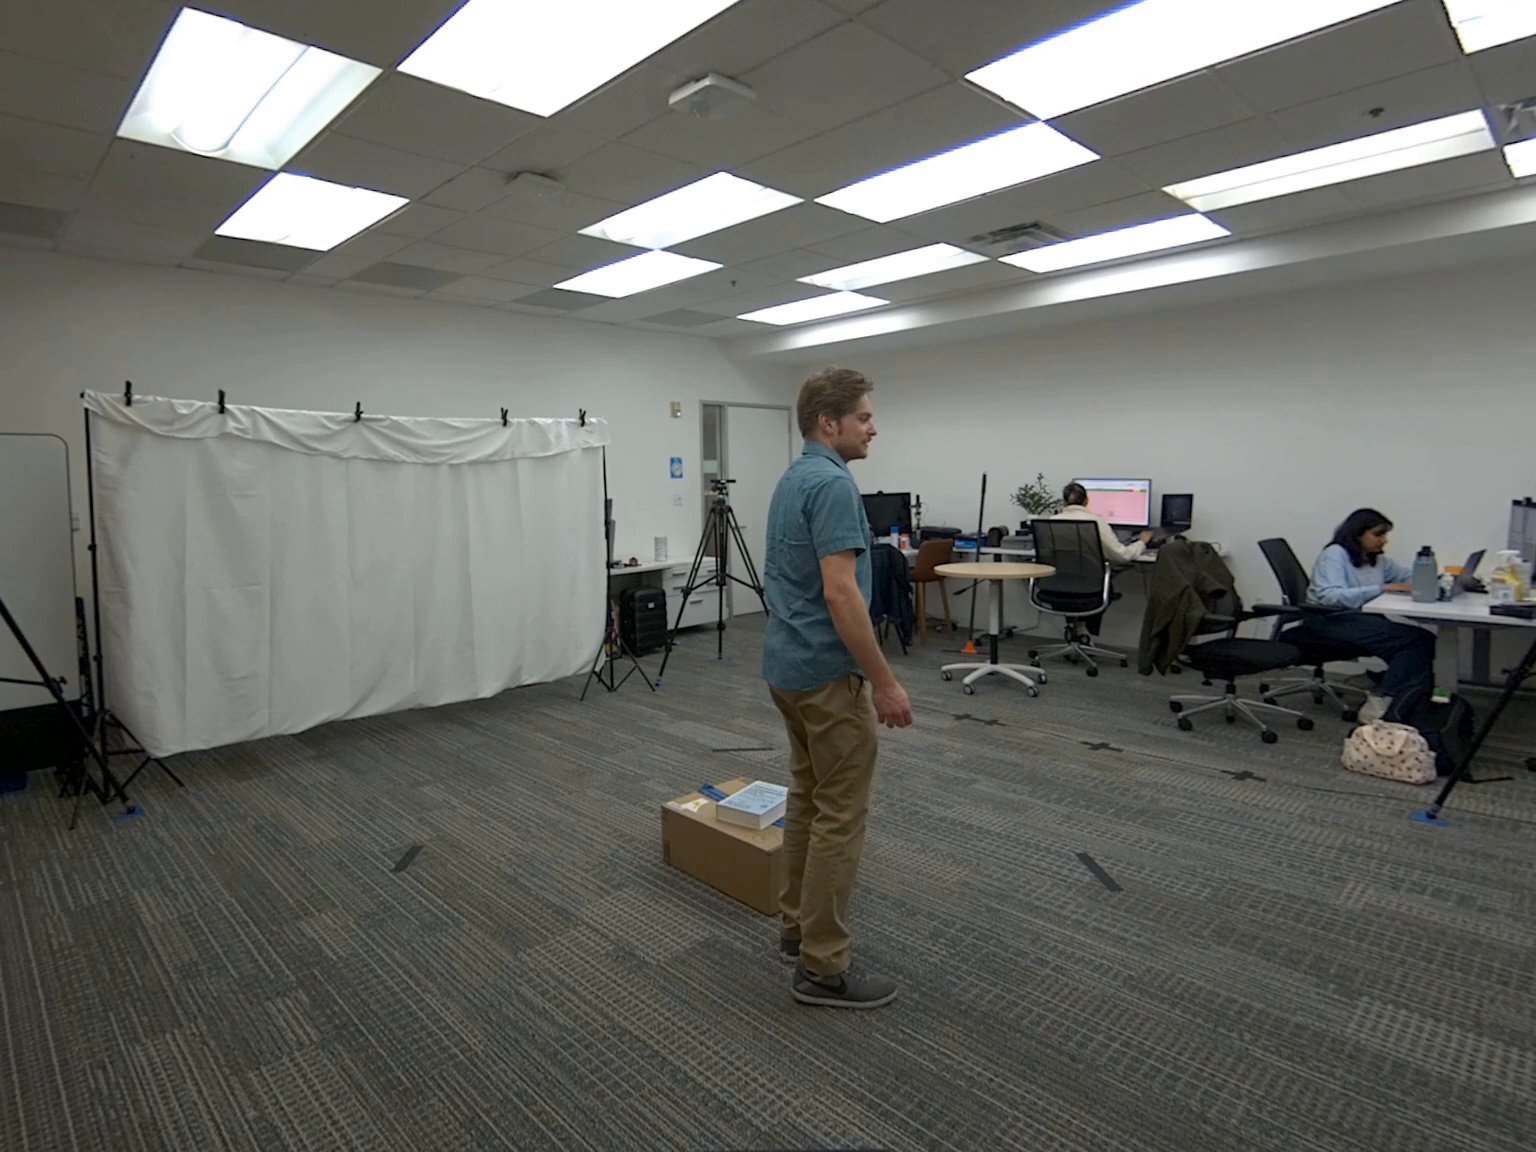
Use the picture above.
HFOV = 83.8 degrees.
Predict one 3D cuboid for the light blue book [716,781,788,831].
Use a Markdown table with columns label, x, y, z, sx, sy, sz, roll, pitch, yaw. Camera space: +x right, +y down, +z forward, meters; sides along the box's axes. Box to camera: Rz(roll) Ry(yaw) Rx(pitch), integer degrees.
| label | x | y | z | sx | sy | sz | roll | pitch | yaw |
| --- | --- | --- | --- | --- | --- | --- | --- | --- | --- |
| light blue book | -0.030 | 0.811 | 3.051 | 0.197 | 0.059 | 0.255 | 4 | 8 | 33 |
